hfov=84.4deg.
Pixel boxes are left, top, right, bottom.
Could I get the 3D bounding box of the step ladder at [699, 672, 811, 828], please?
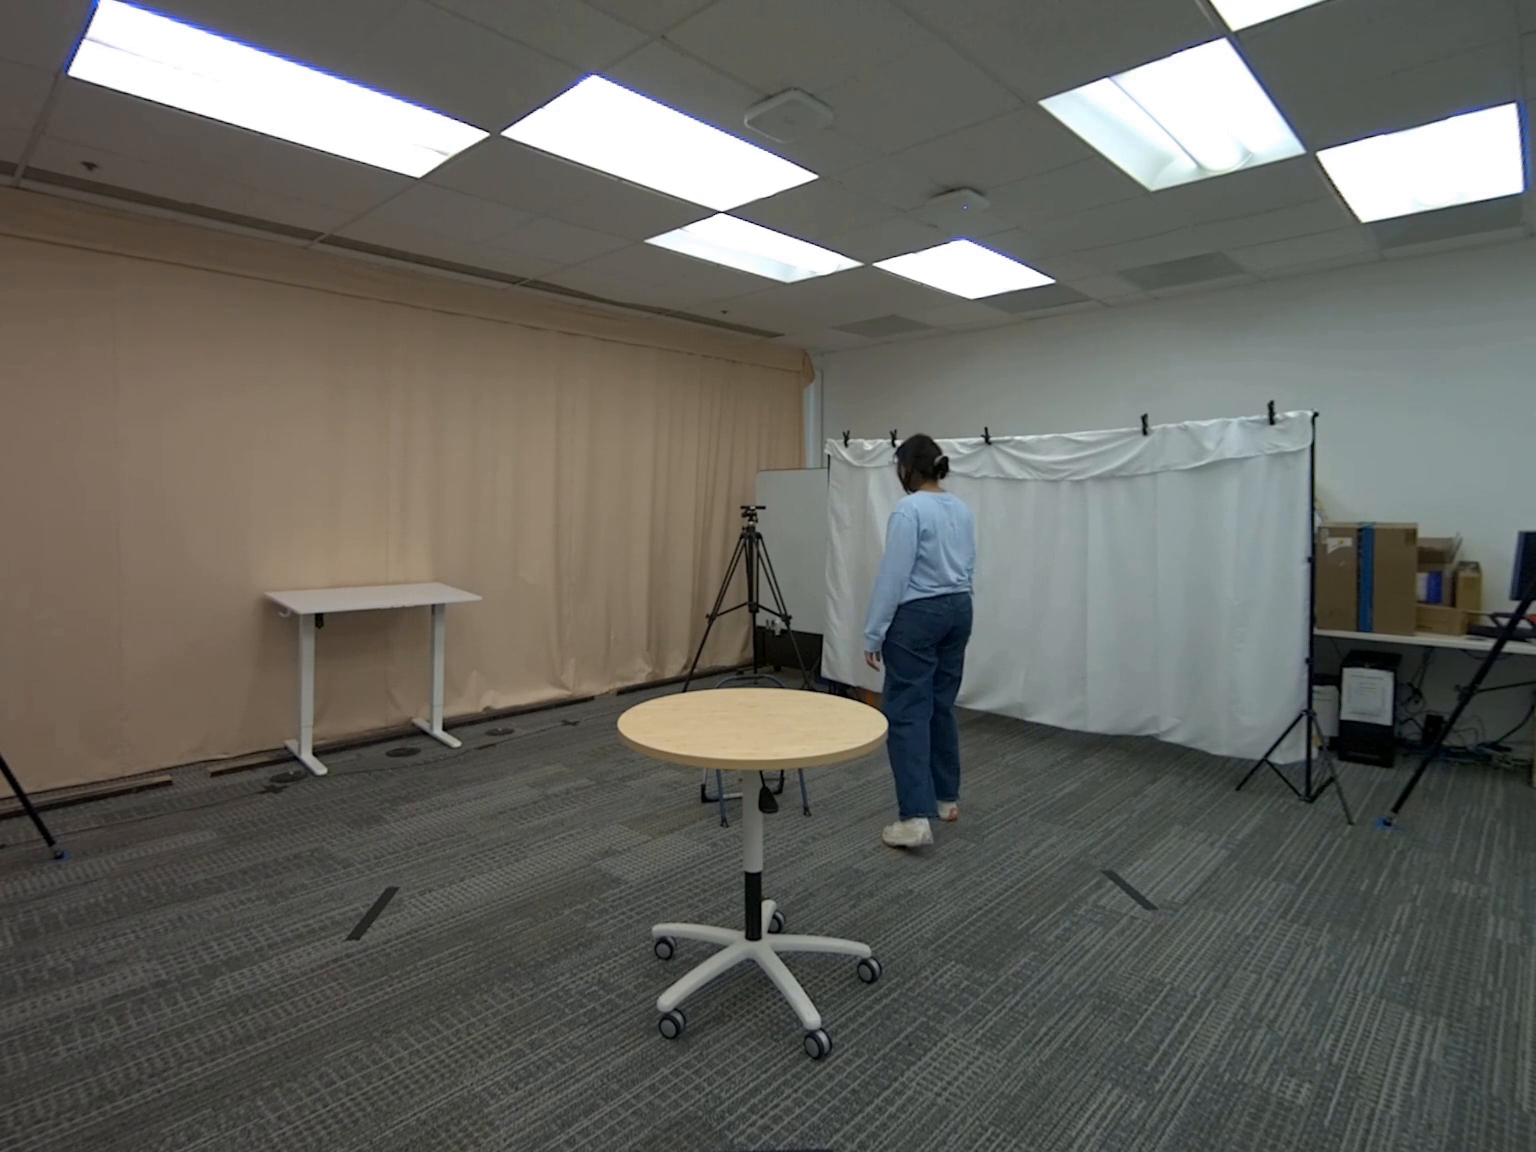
[{"bbox_3d":[-0.063,0.777,3.873,0.422,0.605,0.357,0,3,-20],"label":"step ladder"}]
